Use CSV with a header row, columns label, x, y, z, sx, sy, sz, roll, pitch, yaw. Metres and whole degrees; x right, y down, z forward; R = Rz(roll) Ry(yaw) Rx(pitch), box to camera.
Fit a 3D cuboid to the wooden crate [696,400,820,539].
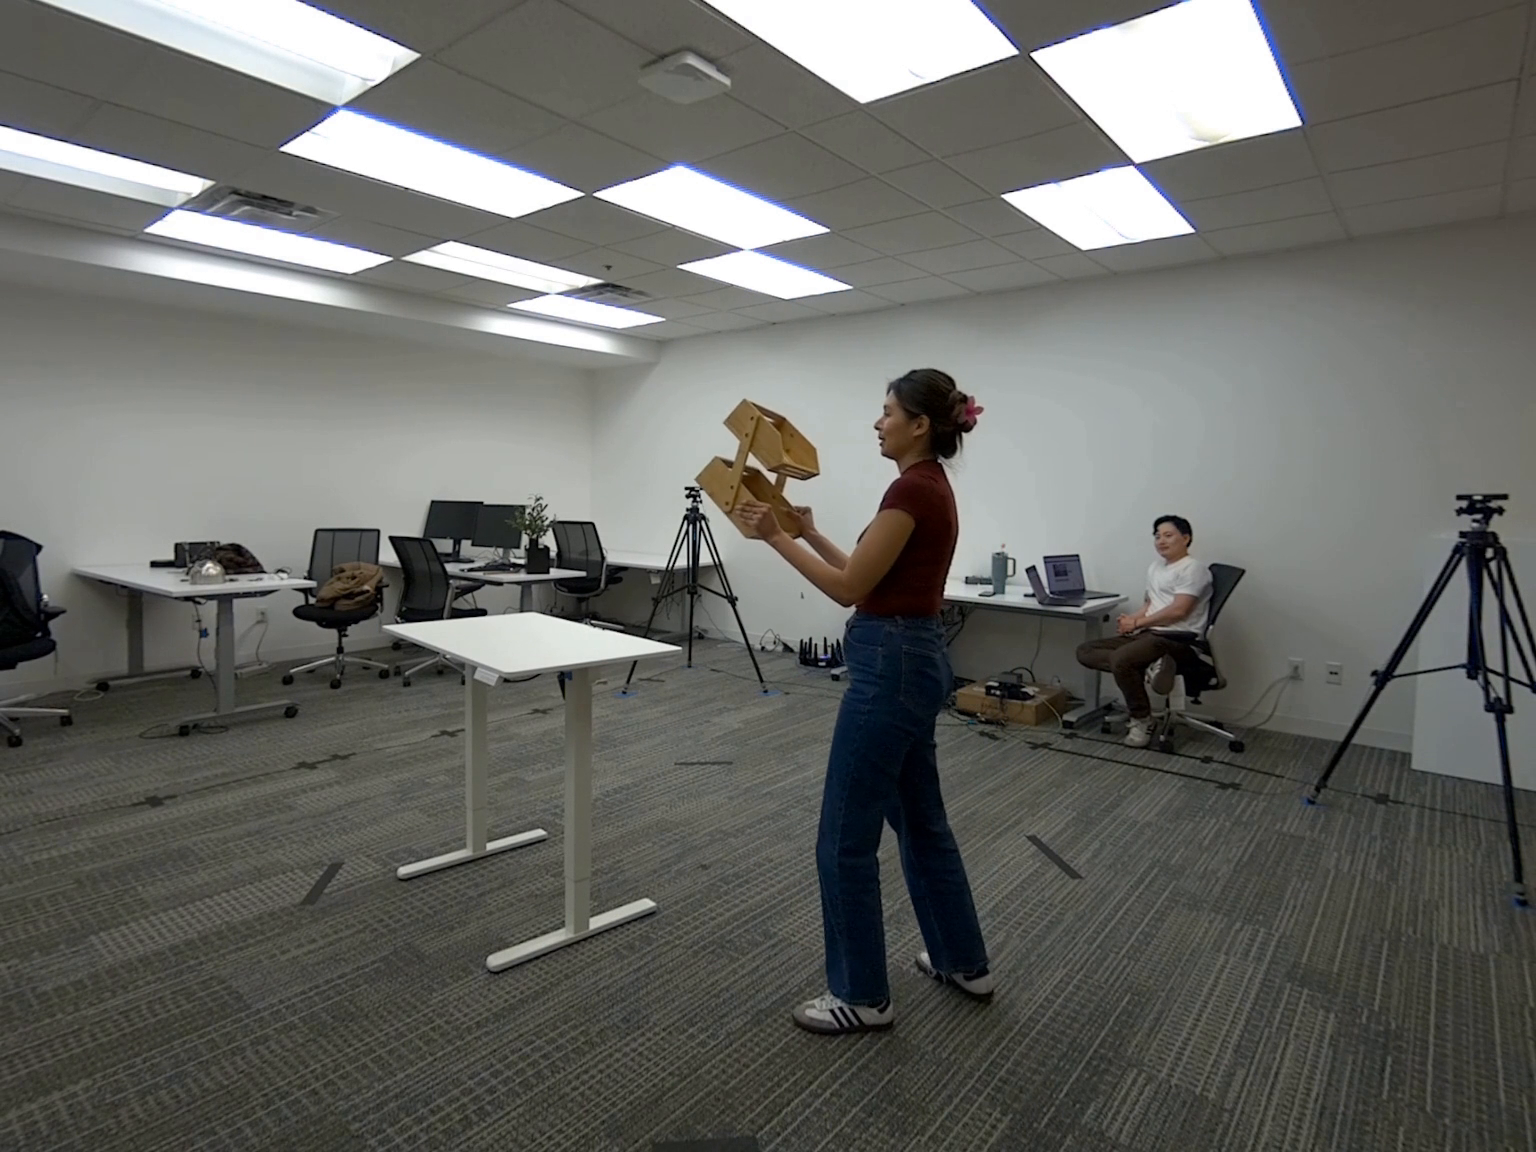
label,x,y,z,sx,sy,sz,roll,pitch,yaw
wooden crate,-0.002,-0.288,2.413,0.310,0.273,0.316,48,17,18
